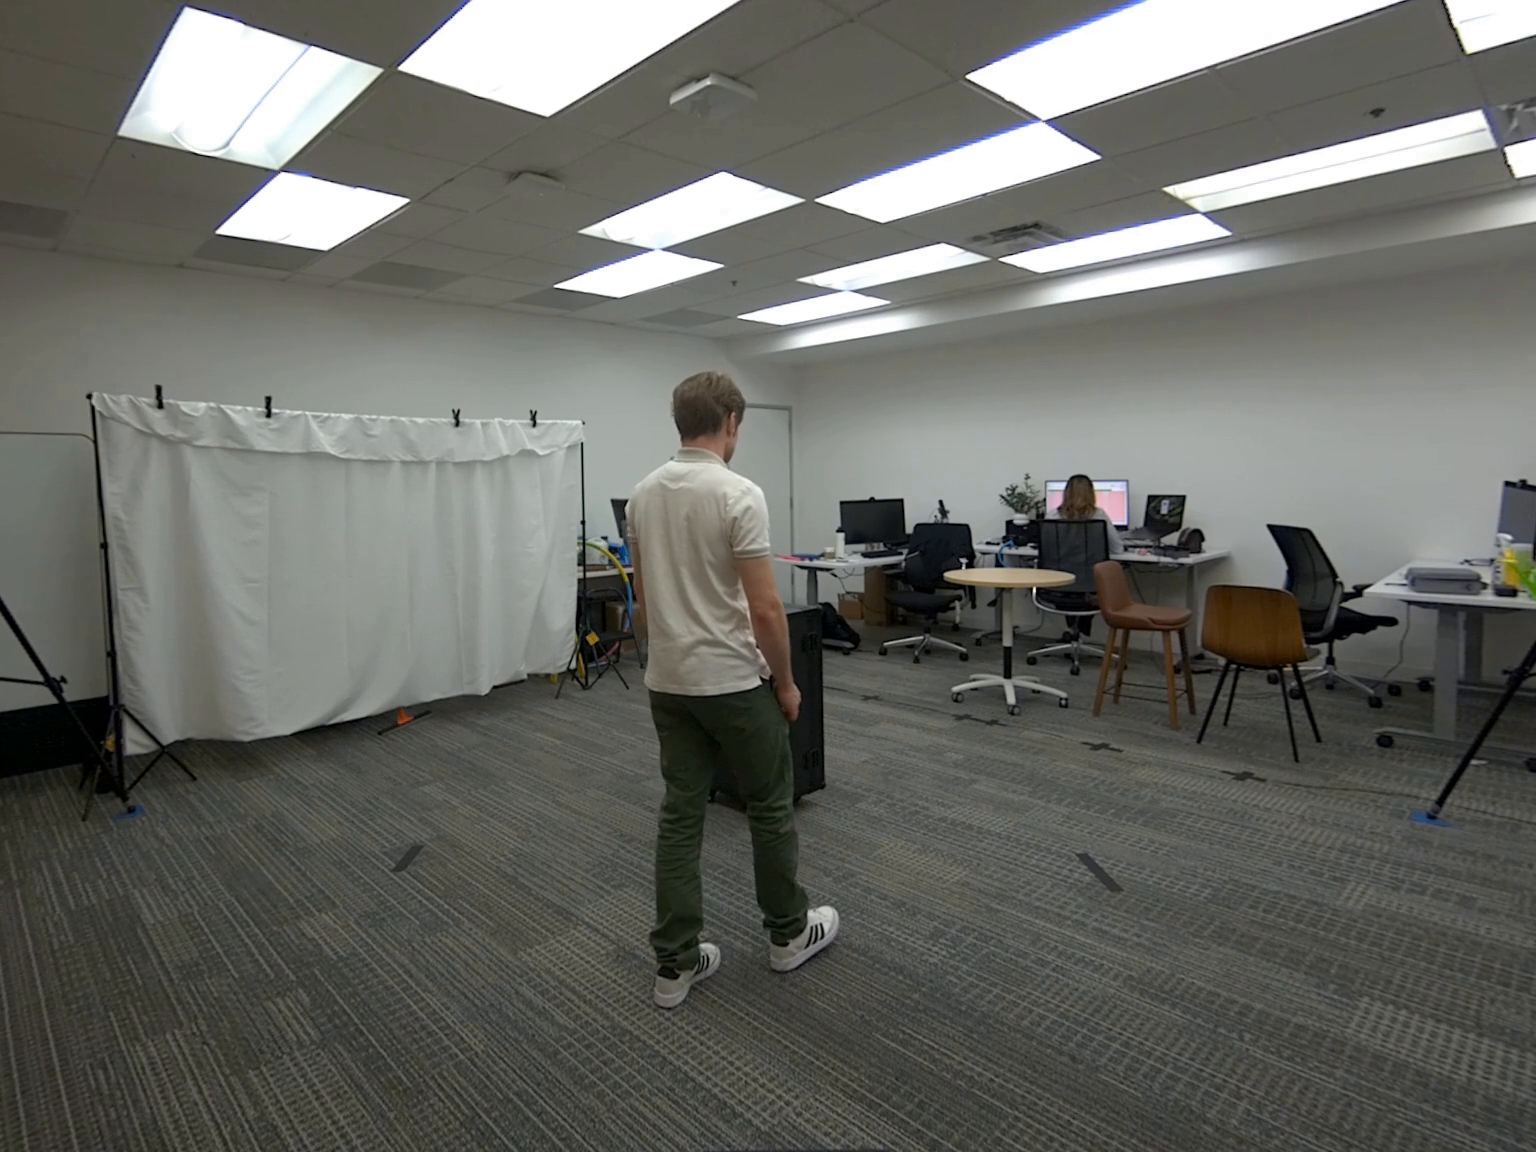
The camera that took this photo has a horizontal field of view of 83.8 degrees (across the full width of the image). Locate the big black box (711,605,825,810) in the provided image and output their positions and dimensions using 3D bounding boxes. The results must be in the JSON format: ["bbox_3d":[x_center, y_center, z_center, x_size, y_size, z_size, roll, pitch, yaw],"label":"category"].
[{"bbox_3d":[-0.051,0.560,3.696,0.539,0.866,0.375,2,5,45],"label":"big black box"}]
